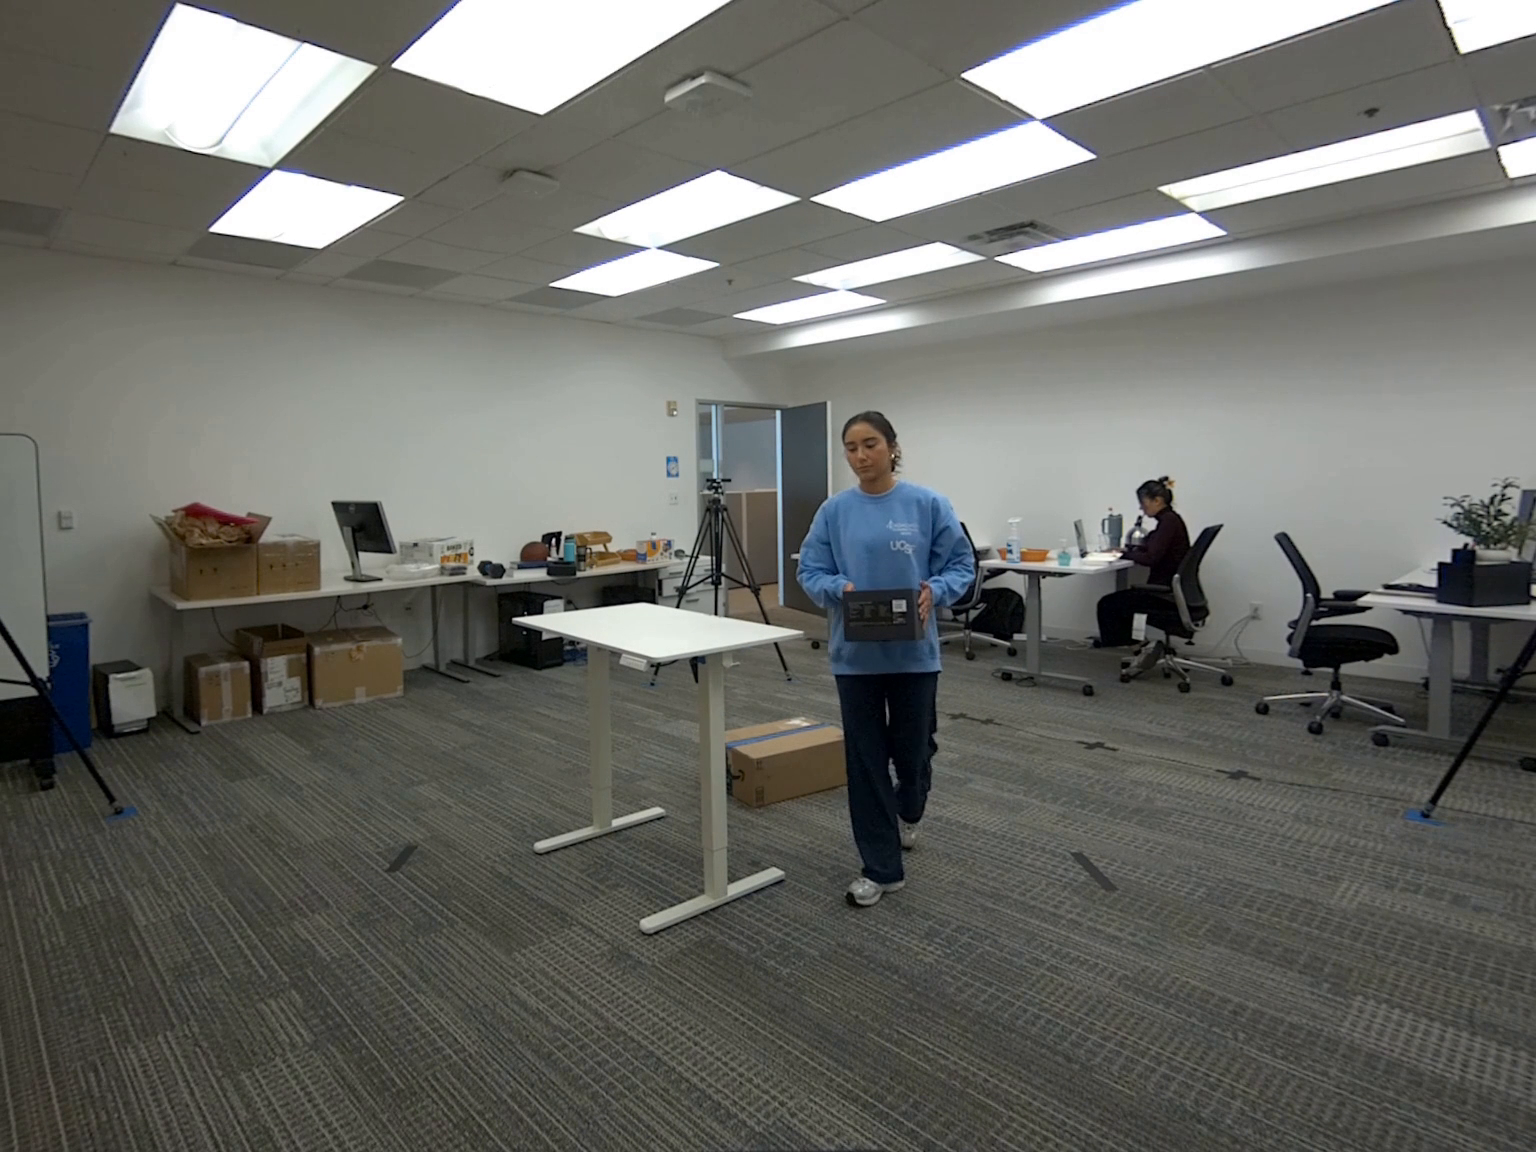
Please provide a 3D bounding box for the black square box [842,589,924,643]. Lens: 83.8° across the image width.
[{"bbox_3d":[0.365,0.124,2.680,0.220,0.157,0.223,-4,-5,17],"label":"black square box"}]
